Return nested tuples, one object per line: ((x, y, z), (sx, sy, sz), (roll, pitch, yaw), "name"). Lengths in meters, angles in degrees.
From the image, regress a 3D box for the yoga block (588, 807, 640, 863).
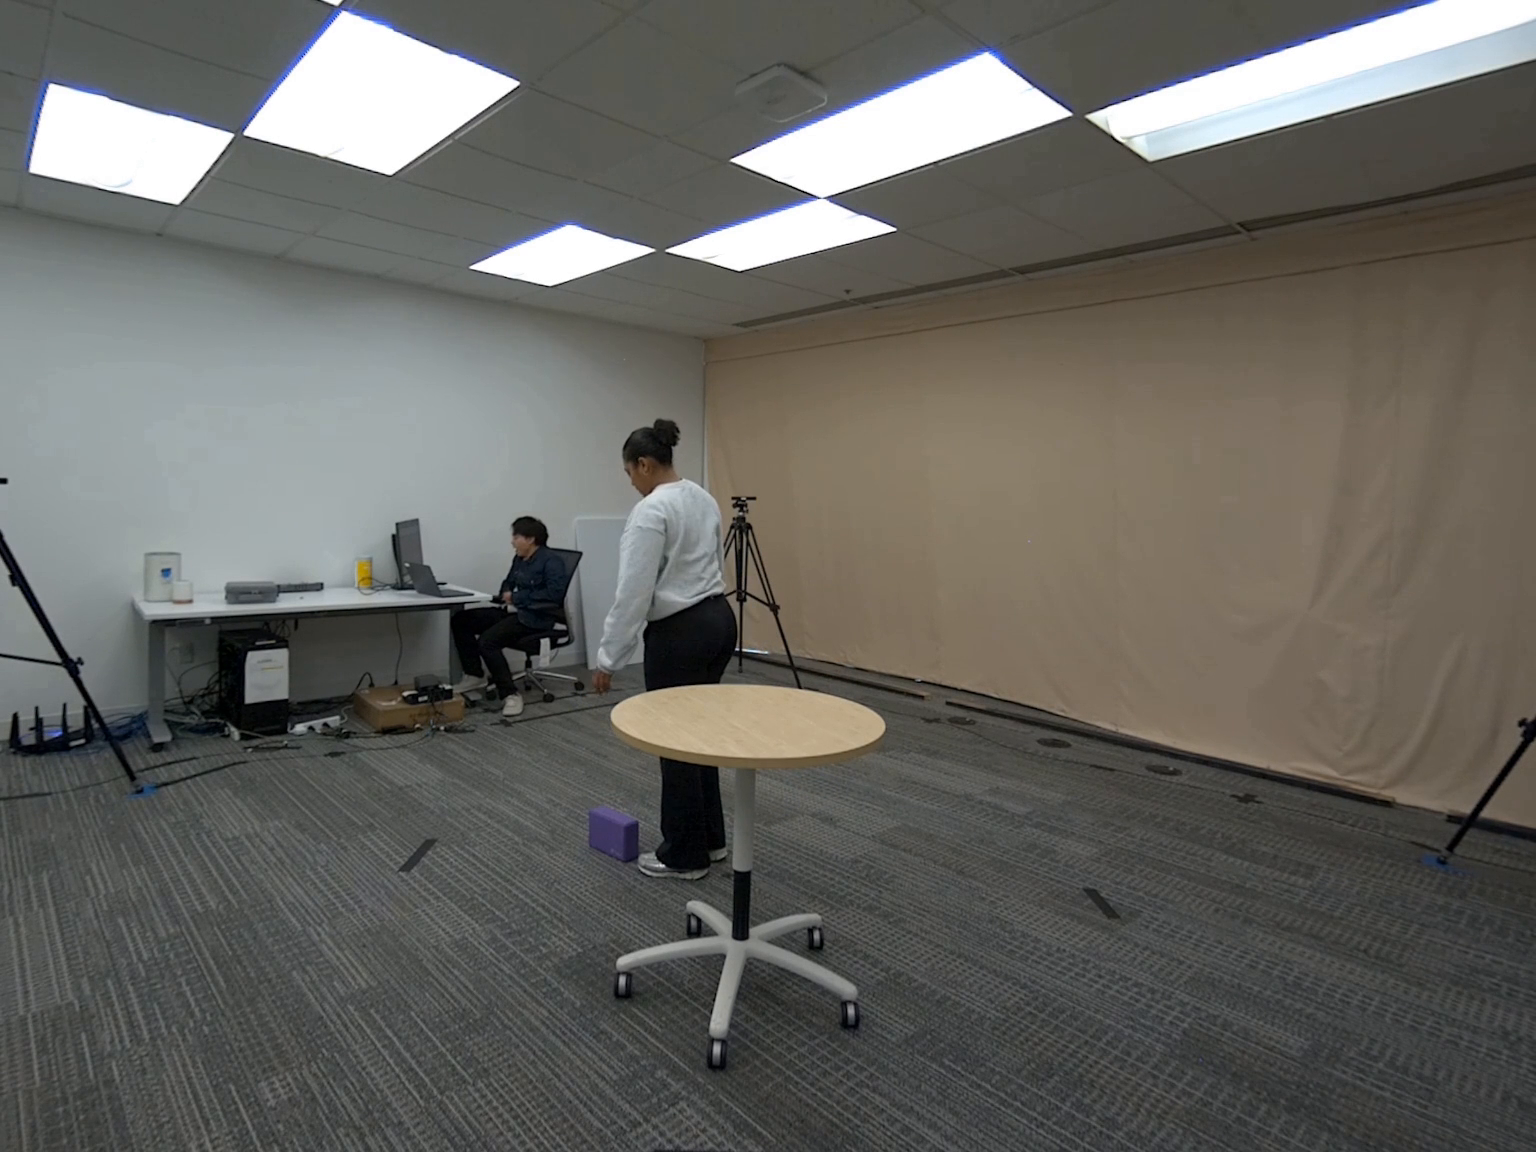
((-0.606, 0.999, 3.287), (0.235, 0.149, 0.075), (4, 3, 40), "yoga block")
